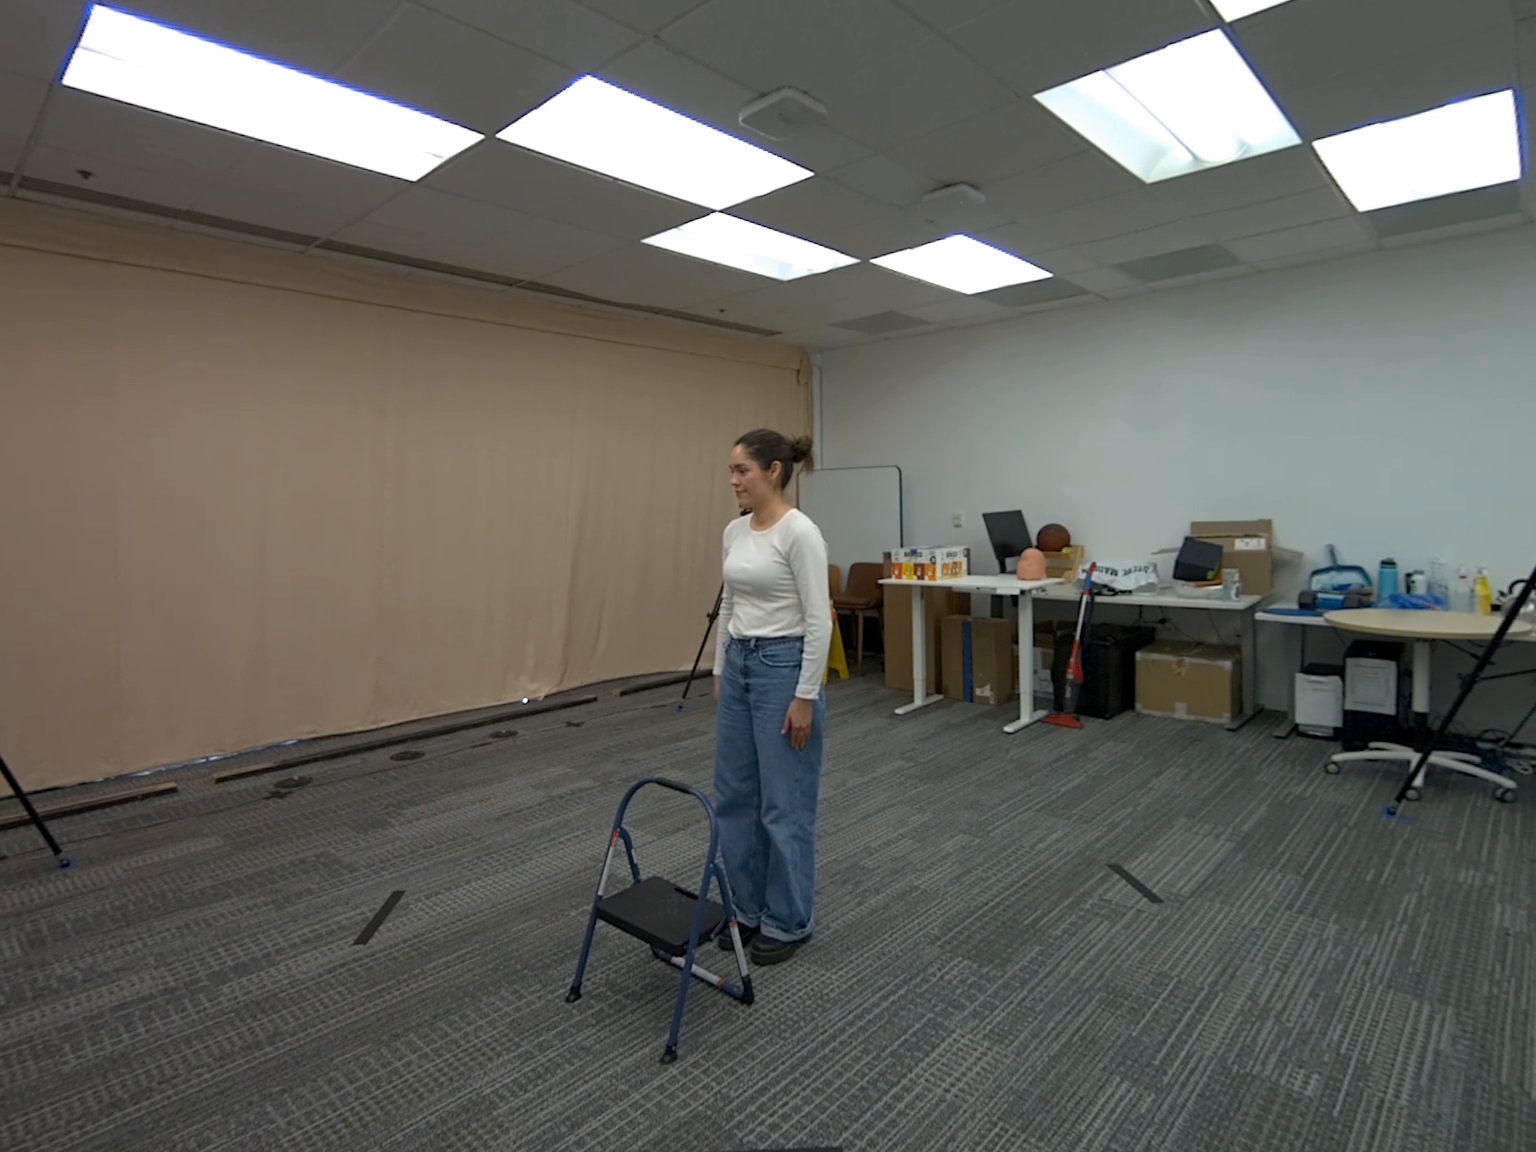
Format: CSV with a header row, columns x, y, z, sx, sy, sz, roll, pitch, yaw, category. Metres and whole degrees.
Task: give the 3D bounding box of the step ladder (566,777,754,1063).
x,y,z,sx,sy,sz,roll,pitch,yaw,category
-0.305,0.899,2.355,0.445,0.604,0.339,3,5,41,step ladder
